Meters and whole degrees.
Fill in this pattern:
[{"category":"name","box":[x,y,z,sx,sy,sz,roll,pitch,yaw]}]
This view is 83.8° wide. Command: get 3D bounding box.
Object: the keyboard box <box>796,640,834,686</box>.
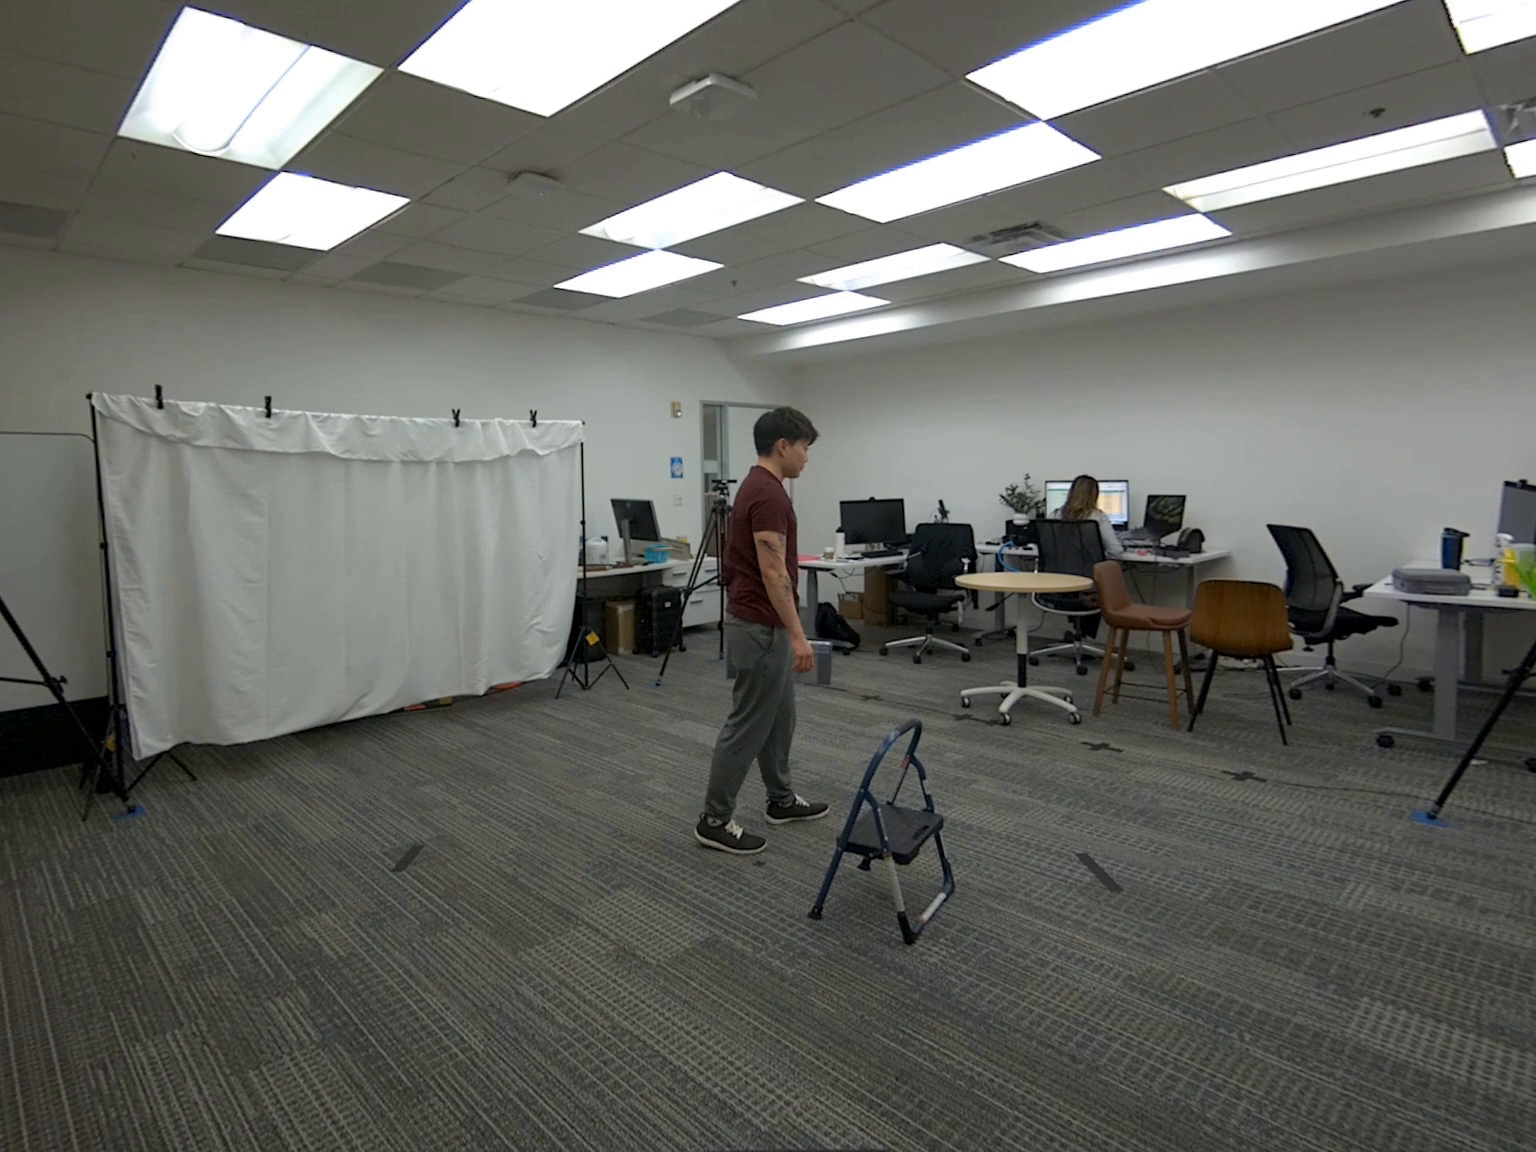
[{"category":"keyboard box","box":[0.055,0.350,3.583,0.440,0.175,0.059,3,6,8]}]
